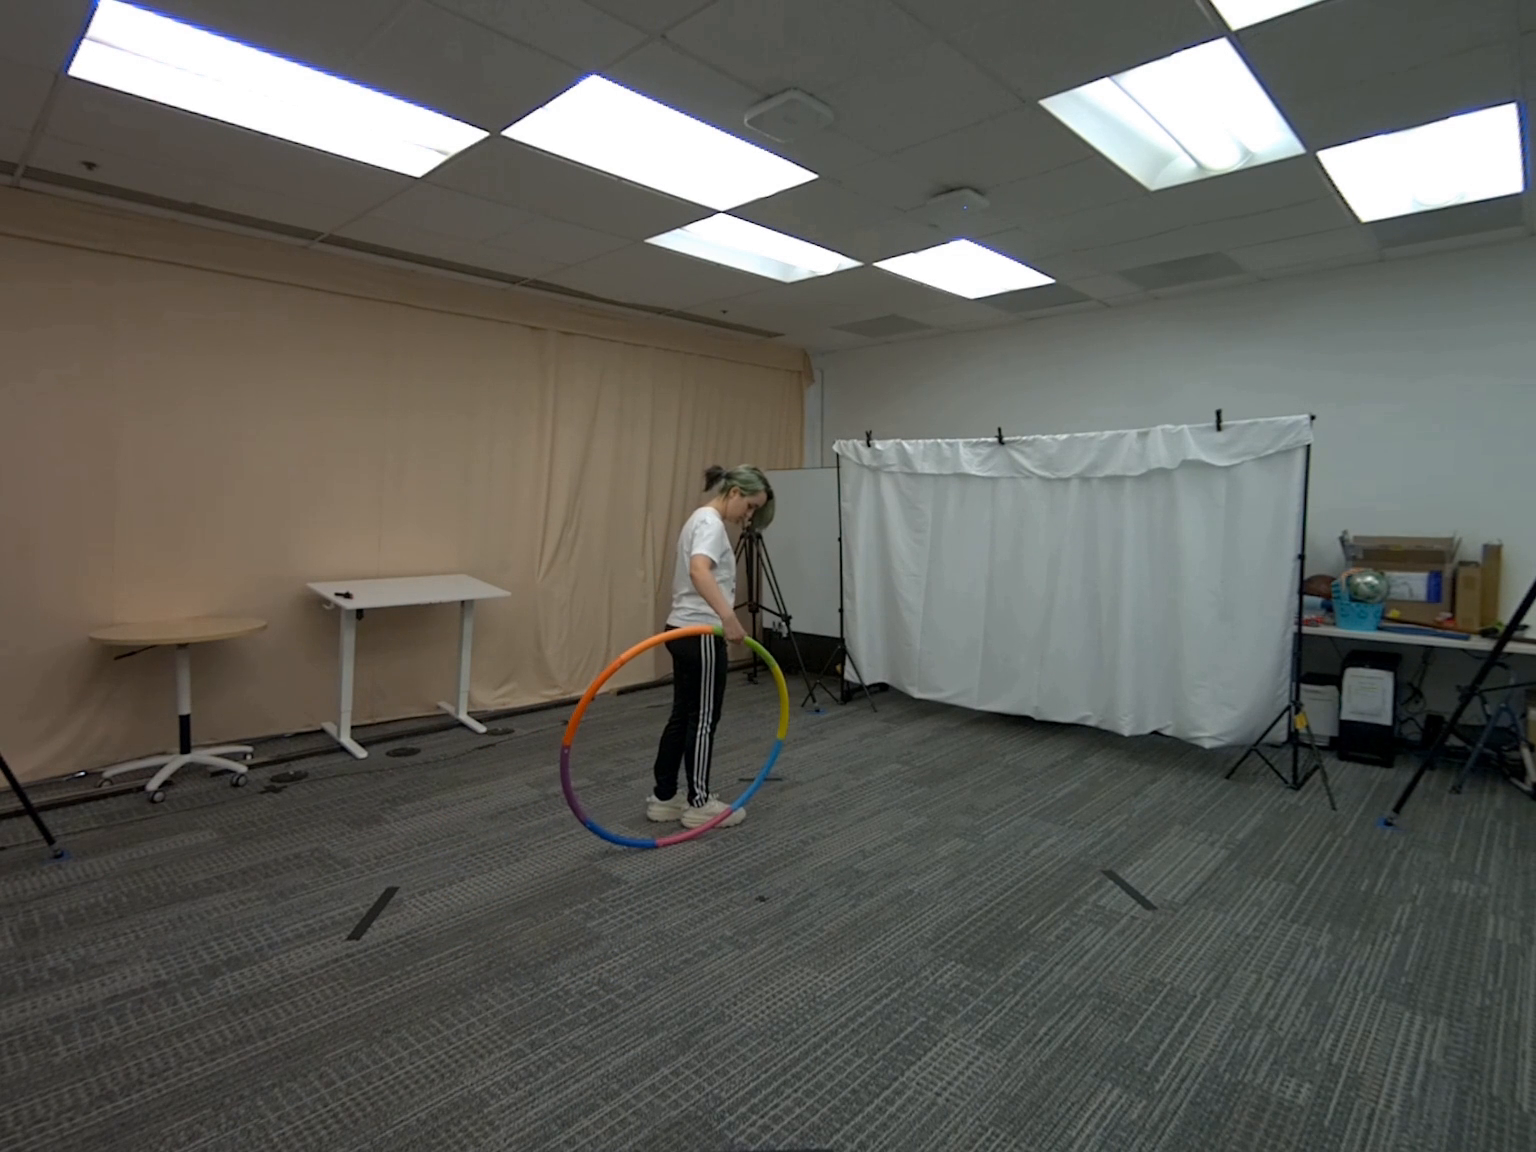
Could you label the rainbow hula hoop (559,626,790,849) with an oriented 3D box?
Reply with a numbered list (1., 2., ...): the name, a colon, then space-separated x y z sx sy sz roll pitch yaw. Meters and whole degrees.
1. rainbow hula hoop: -0.340 0.652 3.332 0.952 0.971 0.037 -2 20 -30
